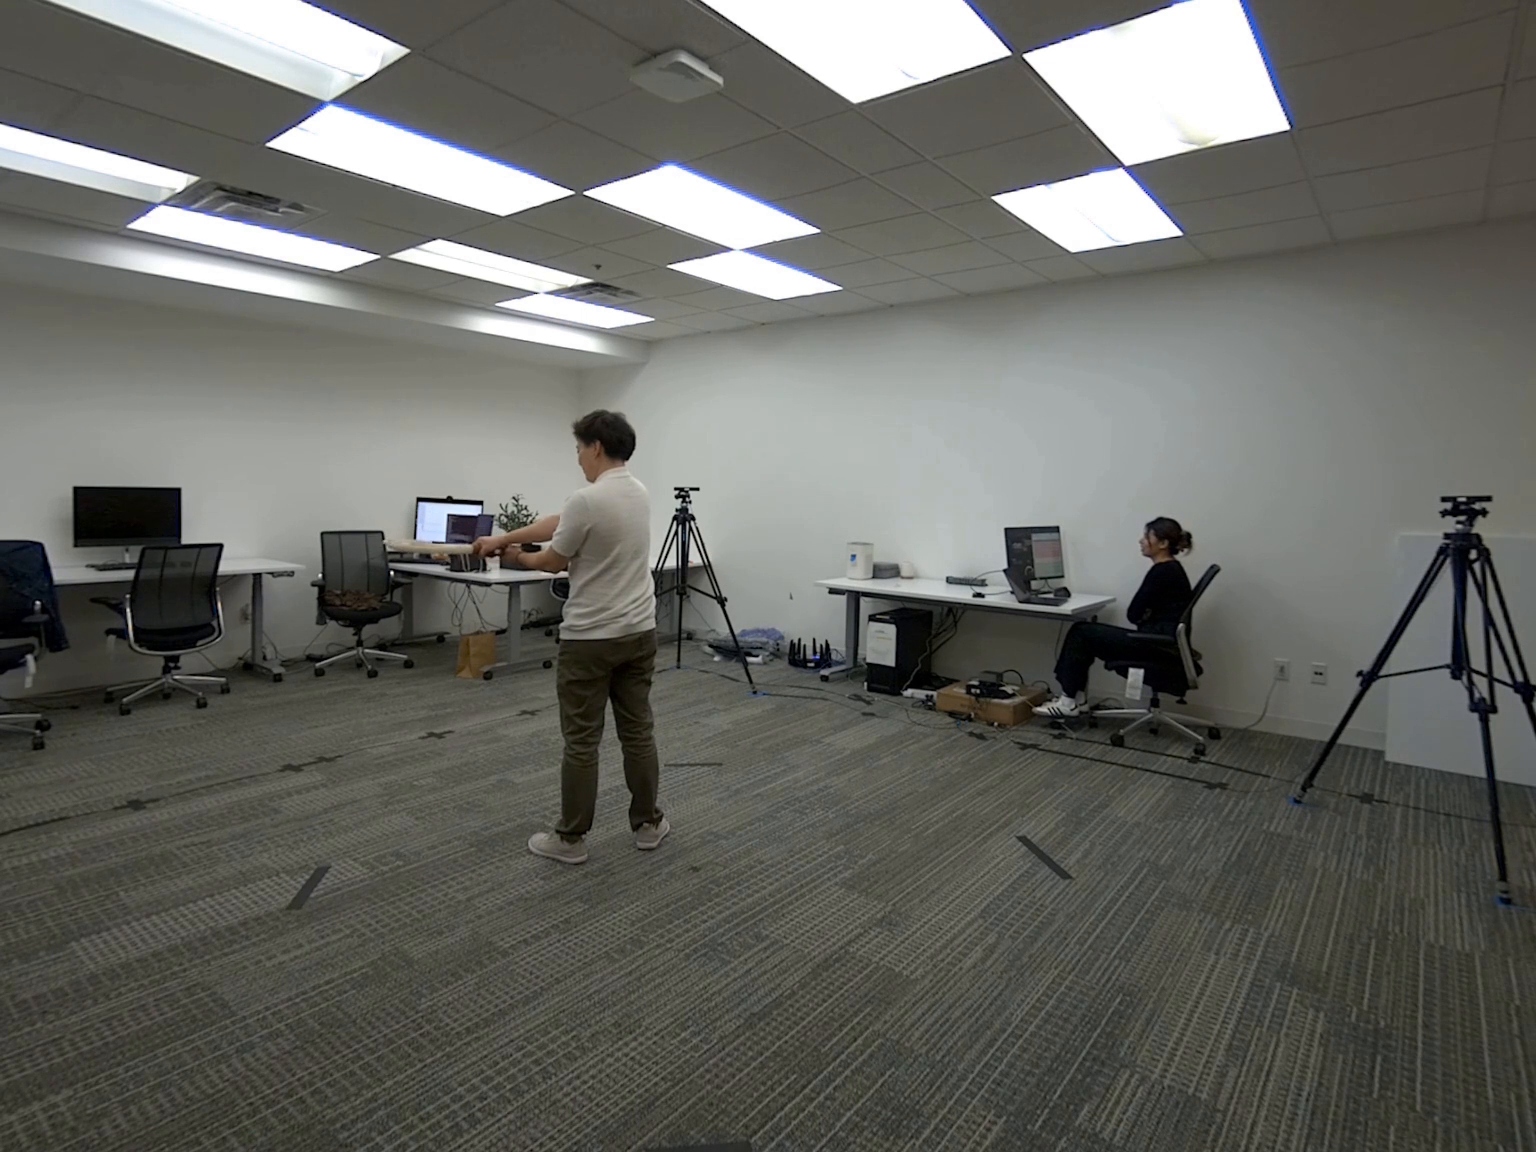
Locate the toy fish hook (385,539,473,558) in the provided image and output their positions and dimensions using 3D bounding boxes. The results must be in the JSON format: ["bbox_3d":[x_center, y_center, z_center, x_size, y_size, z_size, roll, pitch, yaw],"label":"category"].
[{"bbox_3d":[-1.193,-0.115,3.308,0.492,0.048,0.233,3,11,-31],"label":"toy fish hook"}]
